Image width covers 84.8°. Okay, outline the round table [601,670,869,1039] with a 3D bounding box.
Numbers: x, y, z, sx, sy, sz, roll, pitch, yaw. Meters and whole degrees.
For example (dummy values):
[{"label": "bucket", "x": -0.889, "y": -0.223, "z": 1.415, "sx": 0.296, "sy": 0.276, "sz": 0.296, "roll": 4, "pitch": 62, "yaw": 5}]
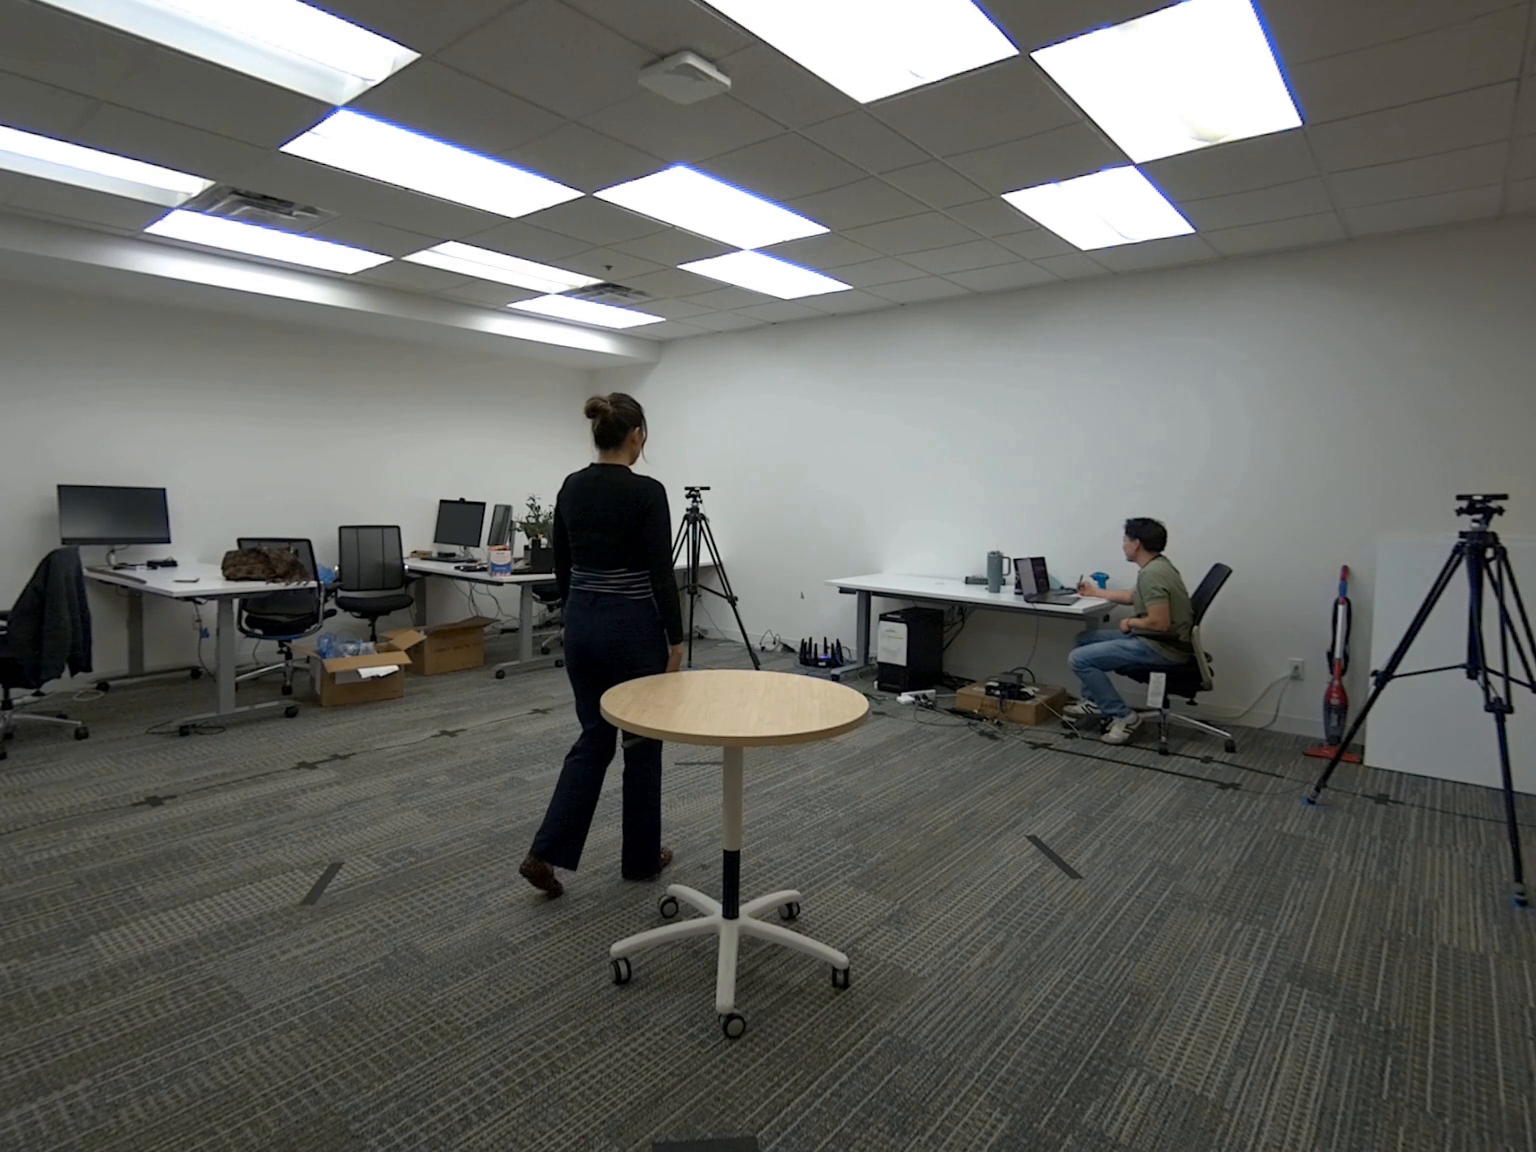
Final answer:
[{"label": "round table", "x": -0.110, "y": 0.740, "z": 2.469, "sx": 0.763, "sy": 0.791, "sz": 0.768, "roll": 1, "pitch": 4, "yaw": -2}]
